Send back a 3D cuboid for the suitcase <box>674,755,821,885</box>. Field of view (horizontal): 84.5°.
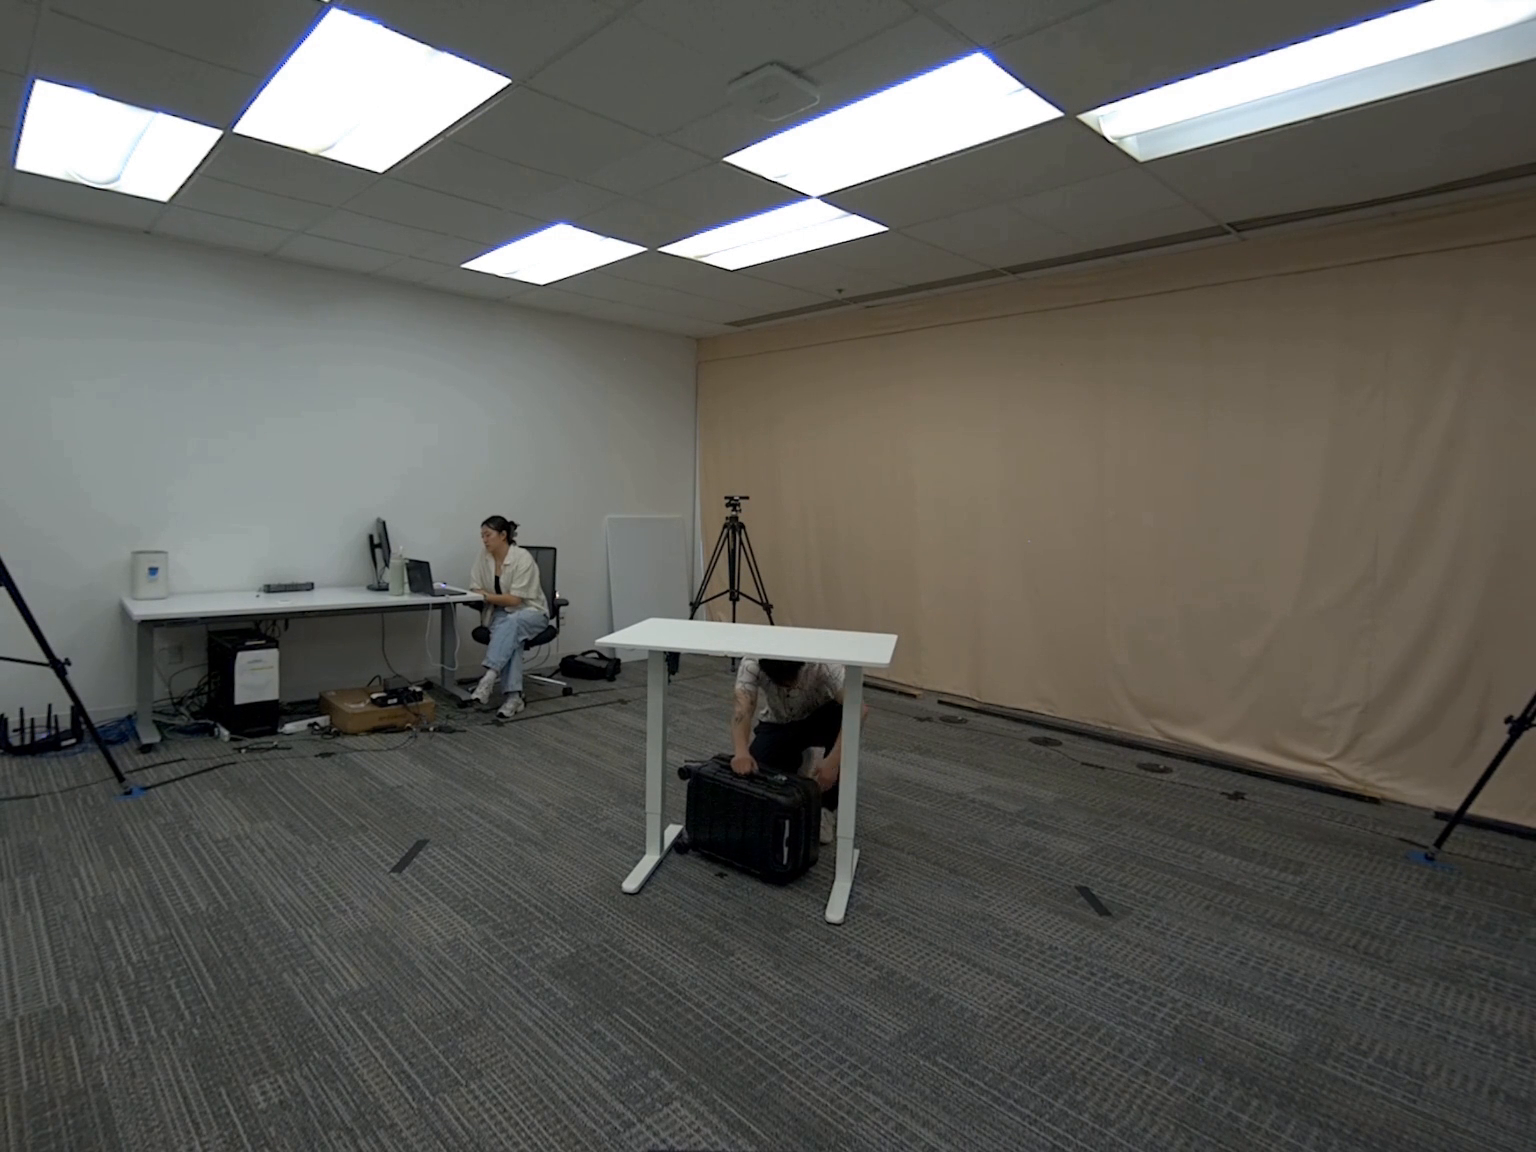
[{"bbox_3d":[-0.078,0.899,3.196,0.563,0.374,0.243,4,4,40],"label":"suitcase"}]
